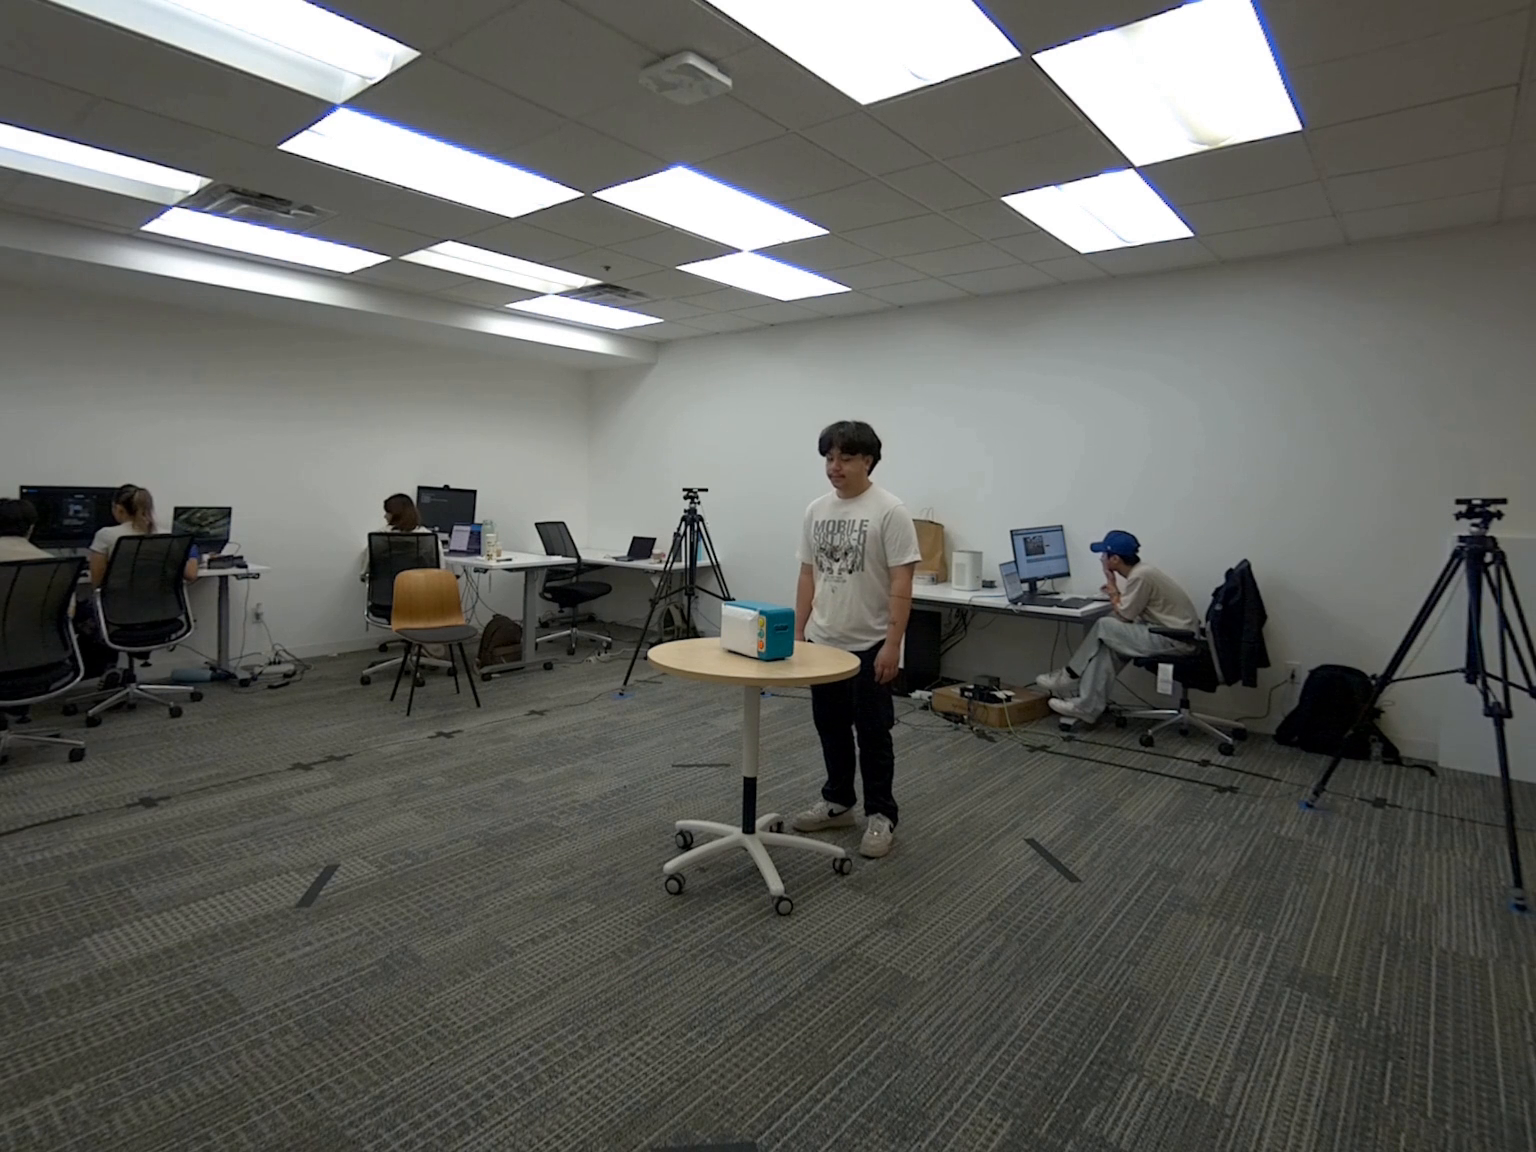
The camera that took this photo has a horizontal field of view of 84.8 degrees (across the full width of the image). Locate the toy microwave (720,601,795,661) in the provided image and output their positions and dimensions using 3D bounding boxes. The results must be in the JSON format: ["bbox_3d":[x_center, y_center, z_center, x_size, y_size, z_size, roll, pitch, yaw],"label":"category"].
[{"bbox_3d":[-0.055,0.190,3.081,0.148,0.183,0.296,-2,6,-38],"label":"toy microwave"}]
